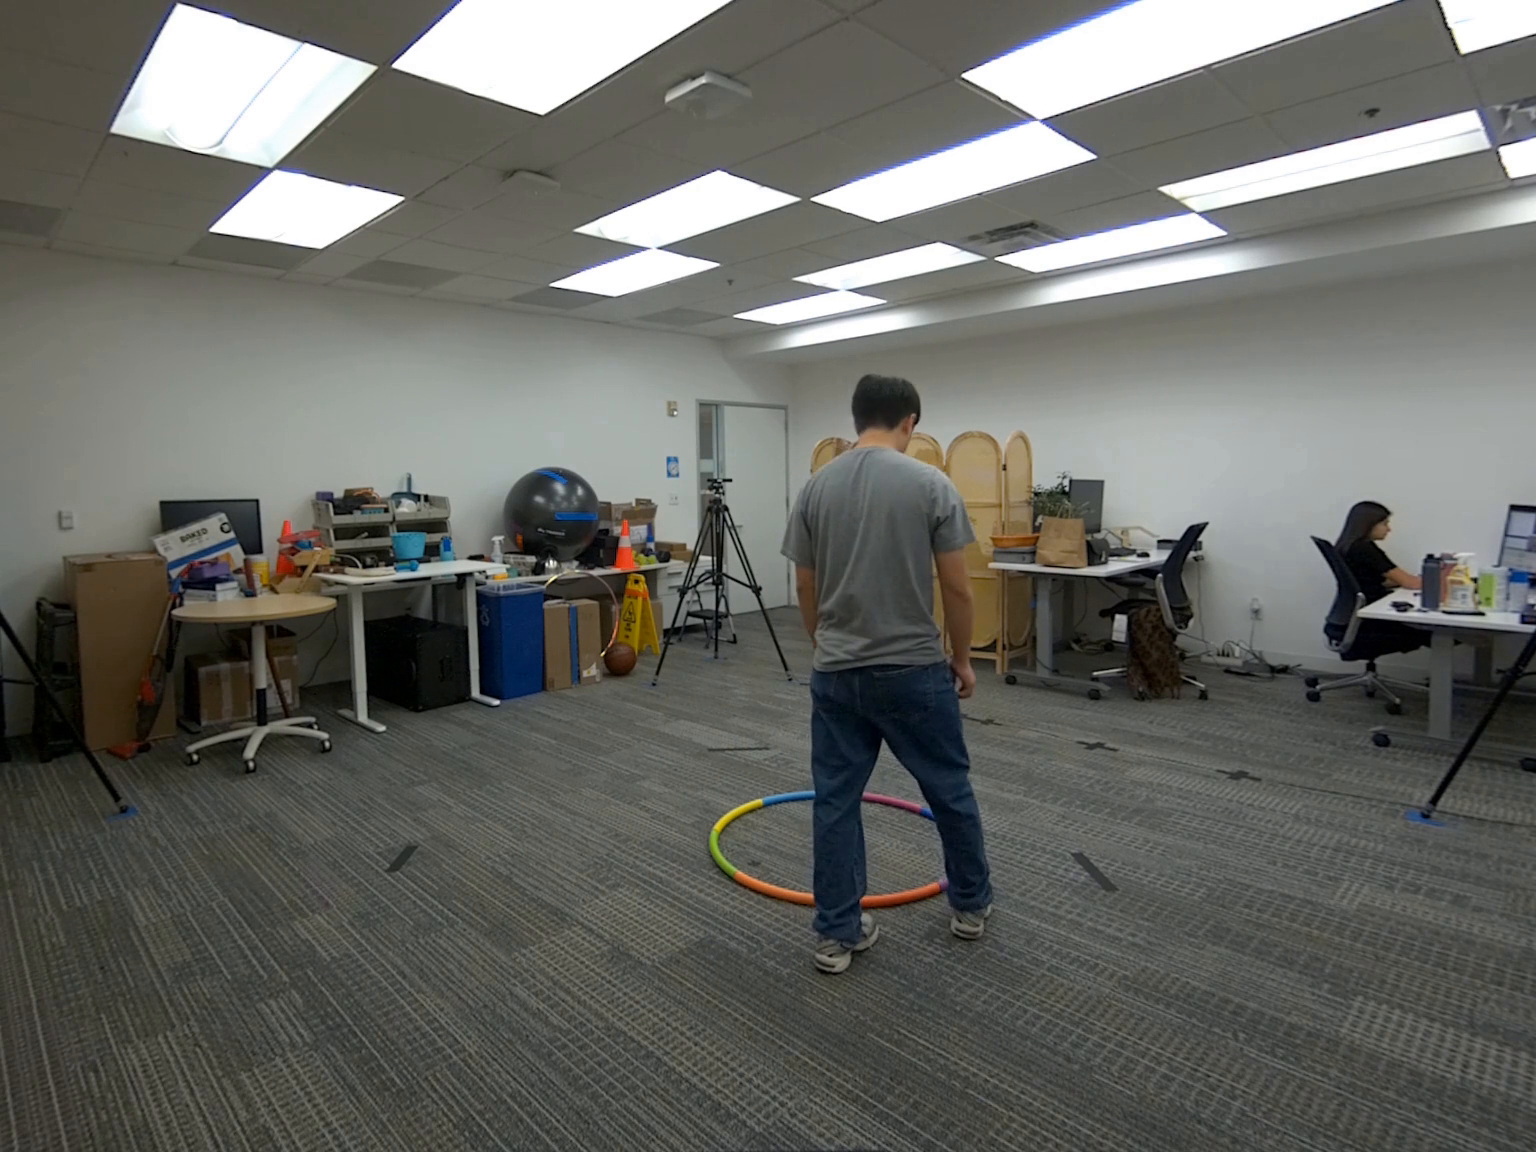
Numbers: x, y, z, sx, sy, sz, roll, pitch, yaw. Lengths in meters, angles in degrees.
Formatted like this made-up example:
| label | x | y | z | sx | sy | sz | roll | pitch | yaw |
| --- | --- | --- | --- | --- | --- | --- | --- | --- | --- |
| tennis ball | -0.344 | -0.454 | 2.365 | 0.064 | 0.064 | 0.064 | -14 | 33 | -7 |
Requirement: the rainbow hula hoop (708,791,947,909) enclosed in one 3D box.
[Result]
| label | x | y | z | sx | sy | sz | roll | pitch | yaw |
| --- | --- | --- | --- | --- | --- | --- | --- | --- | --- |
| rainbow hula hoop | 0.258 | 0.995 | 3.249 | 0.978 | 0.035 | 0.984 | -1 | 6 | -2 |
